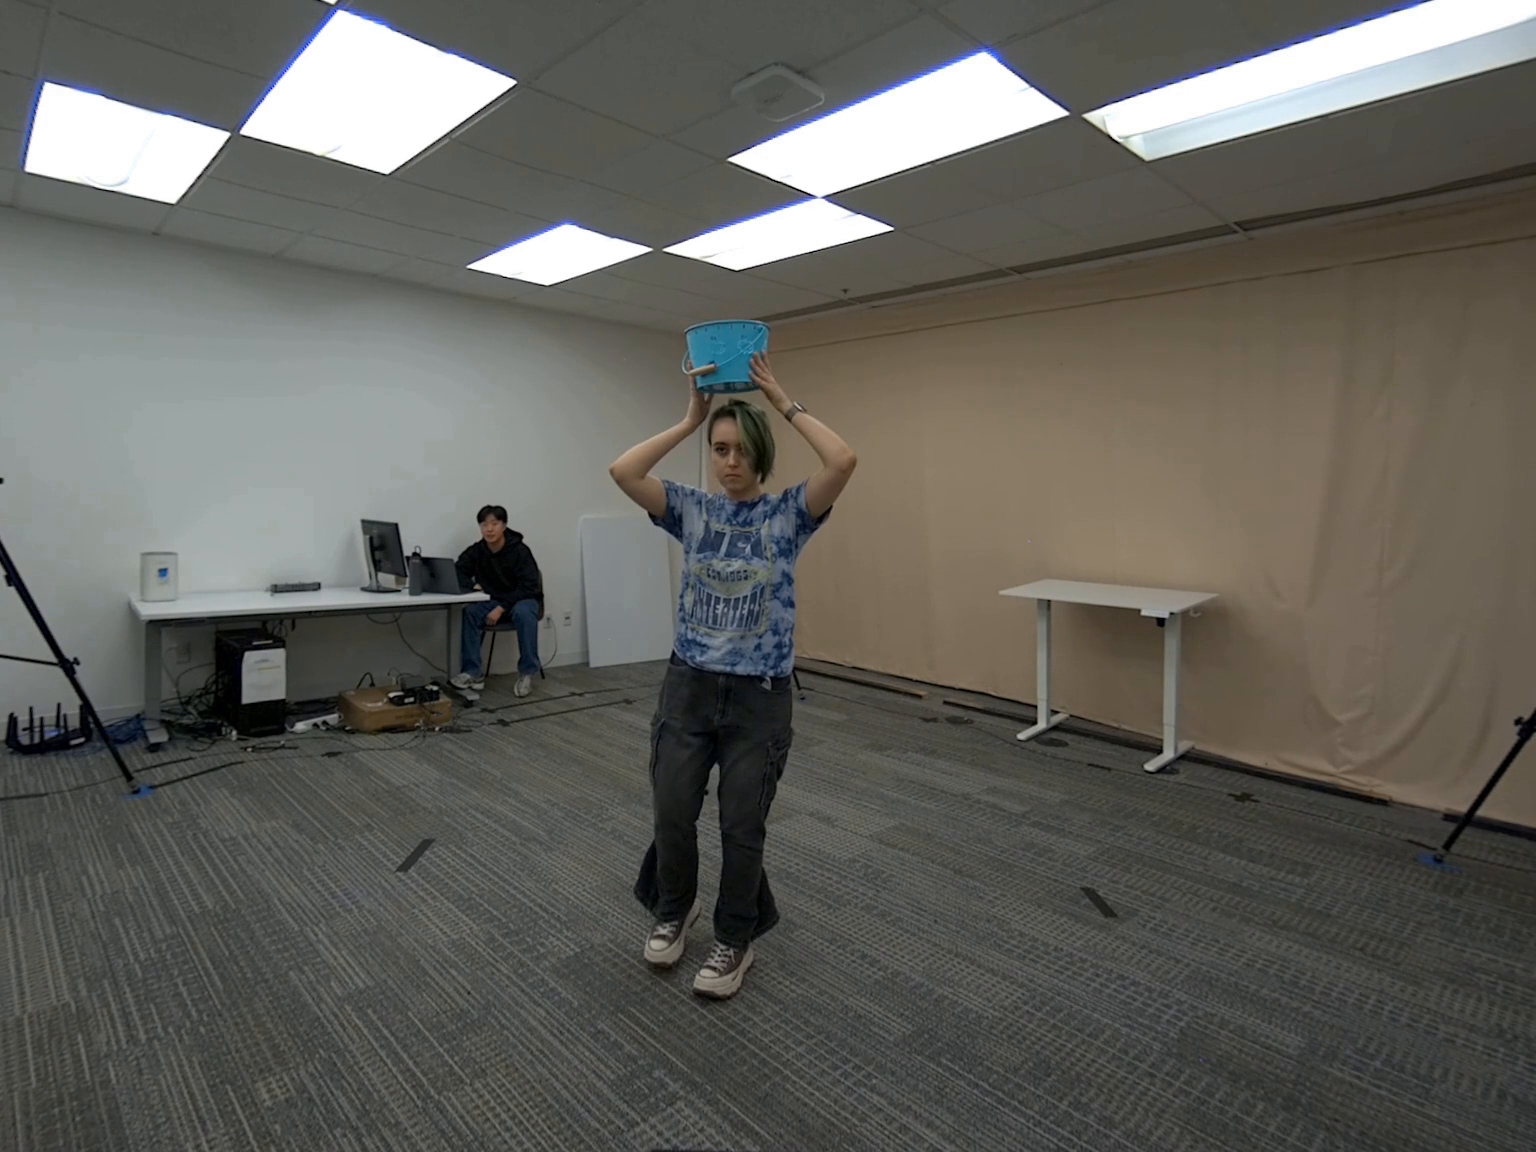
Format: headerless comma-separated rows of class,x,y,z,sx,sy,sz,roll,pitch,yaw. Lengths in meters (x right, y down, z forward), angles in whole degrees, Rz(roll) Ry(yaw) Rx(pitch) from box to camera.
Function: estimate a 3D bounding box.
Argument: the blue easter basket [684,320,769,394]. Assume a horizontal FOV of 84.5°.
blue easter basket,-0.110,-0.576,2.235,0.243,0.155,0.244,-3,4,-1
